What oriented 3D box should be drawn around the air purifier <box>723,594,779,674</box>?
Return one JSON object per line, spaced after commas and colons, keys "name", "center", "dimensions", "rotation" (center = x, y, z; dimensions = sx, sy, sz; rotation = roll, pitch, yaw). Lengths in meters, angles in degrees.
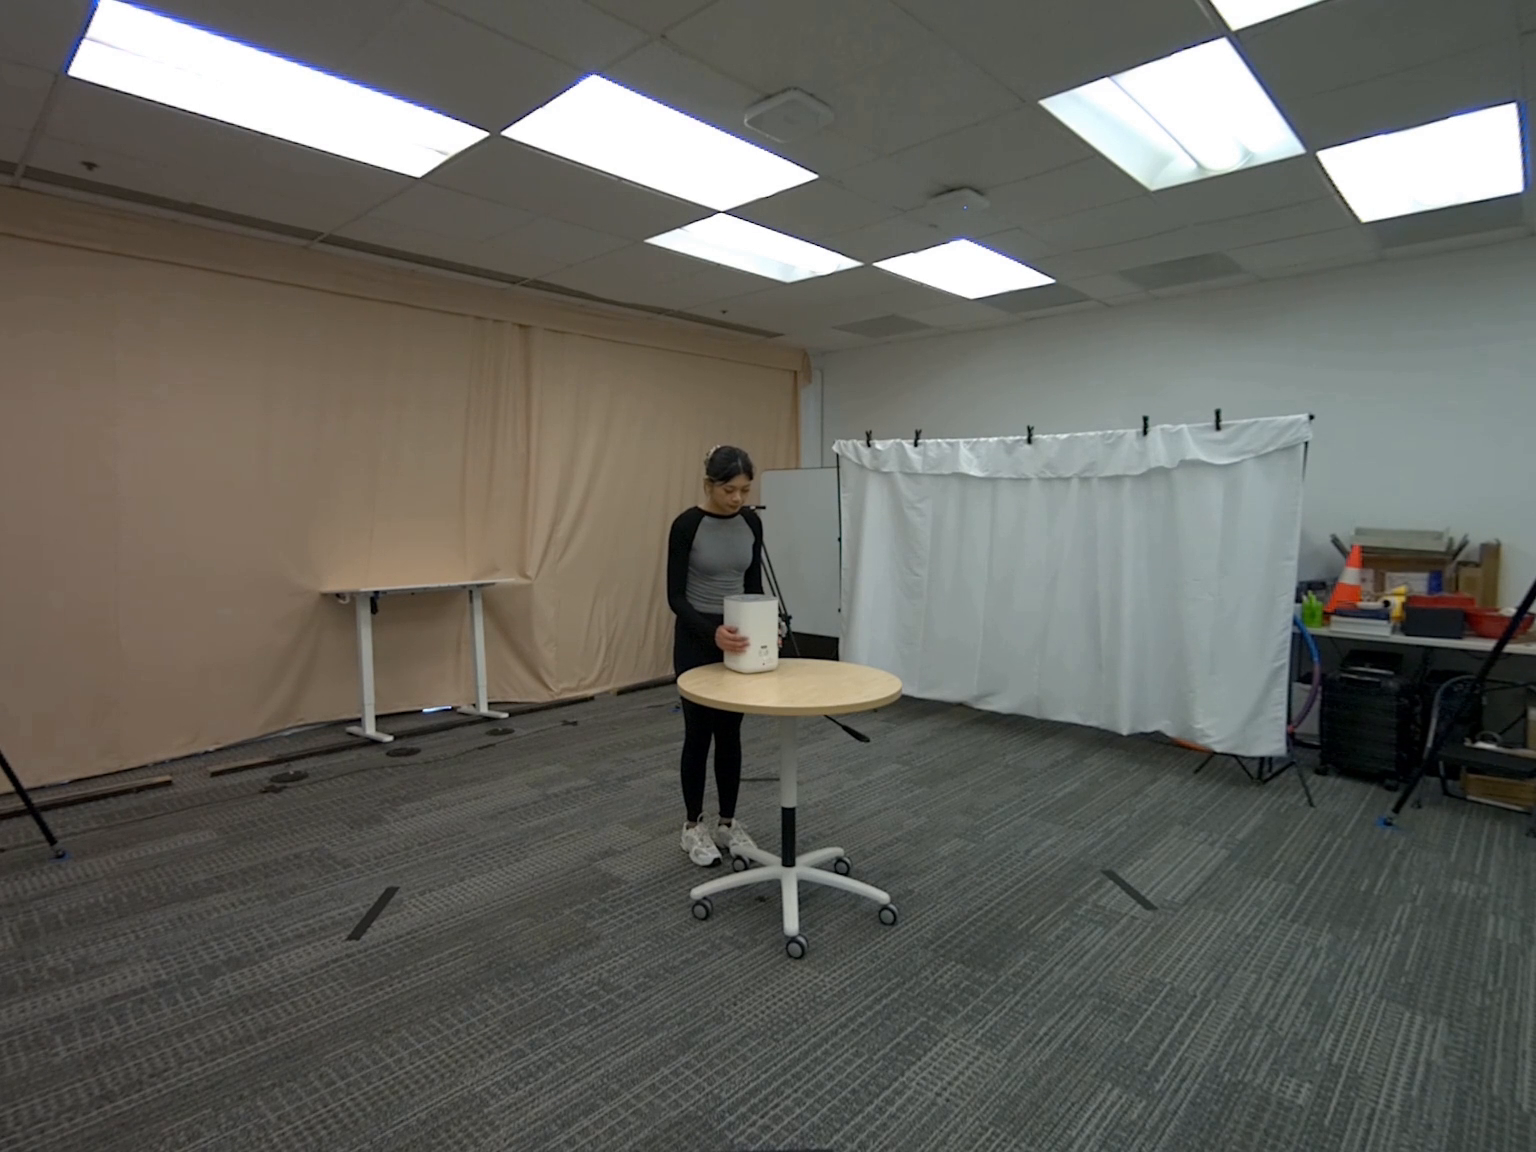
{"name": "air purifier", "center": [-0.064, 0.205, 3.065], "dimensions": [0.167, 0.264, 0.176], "rotation": [-4, 5, -26]}
